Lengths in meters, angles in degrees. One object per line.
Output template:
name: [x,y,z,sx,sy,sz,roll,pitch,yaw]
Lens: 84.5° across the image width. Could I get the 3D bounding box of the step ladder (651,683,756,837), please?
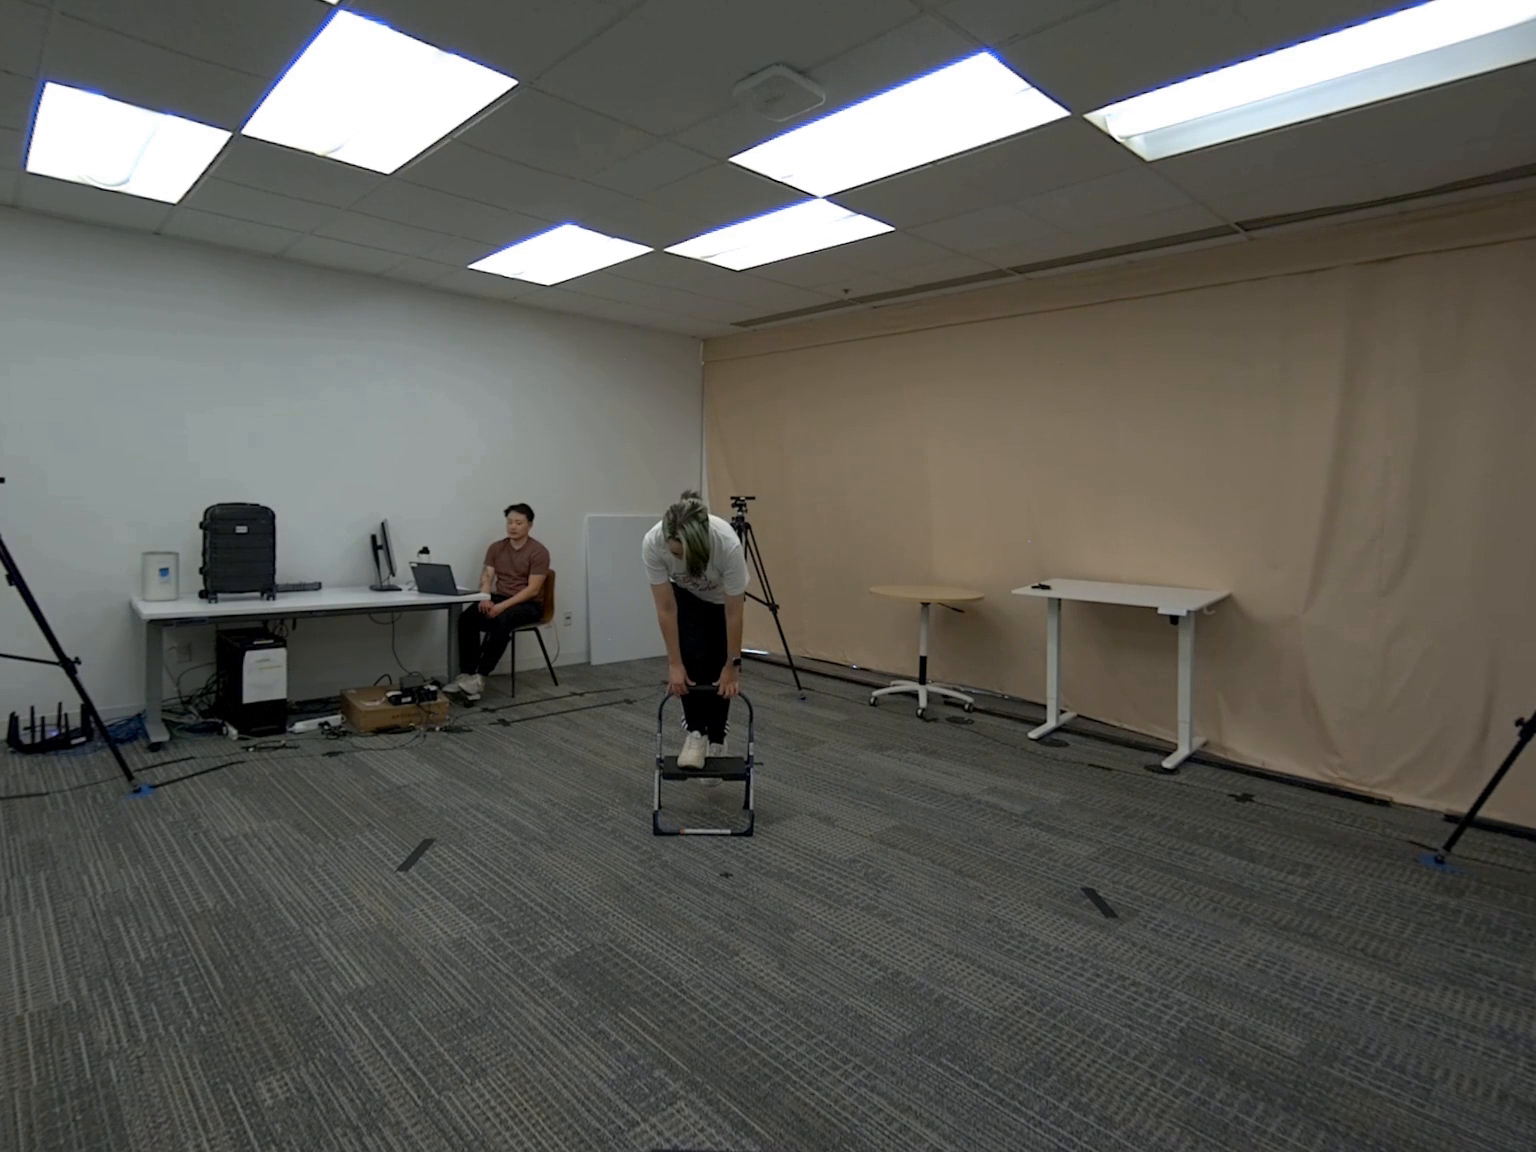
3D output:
step ladder: [-0.280,0.759,3.614,0.429,0.605,0.351,2,3,-4]
